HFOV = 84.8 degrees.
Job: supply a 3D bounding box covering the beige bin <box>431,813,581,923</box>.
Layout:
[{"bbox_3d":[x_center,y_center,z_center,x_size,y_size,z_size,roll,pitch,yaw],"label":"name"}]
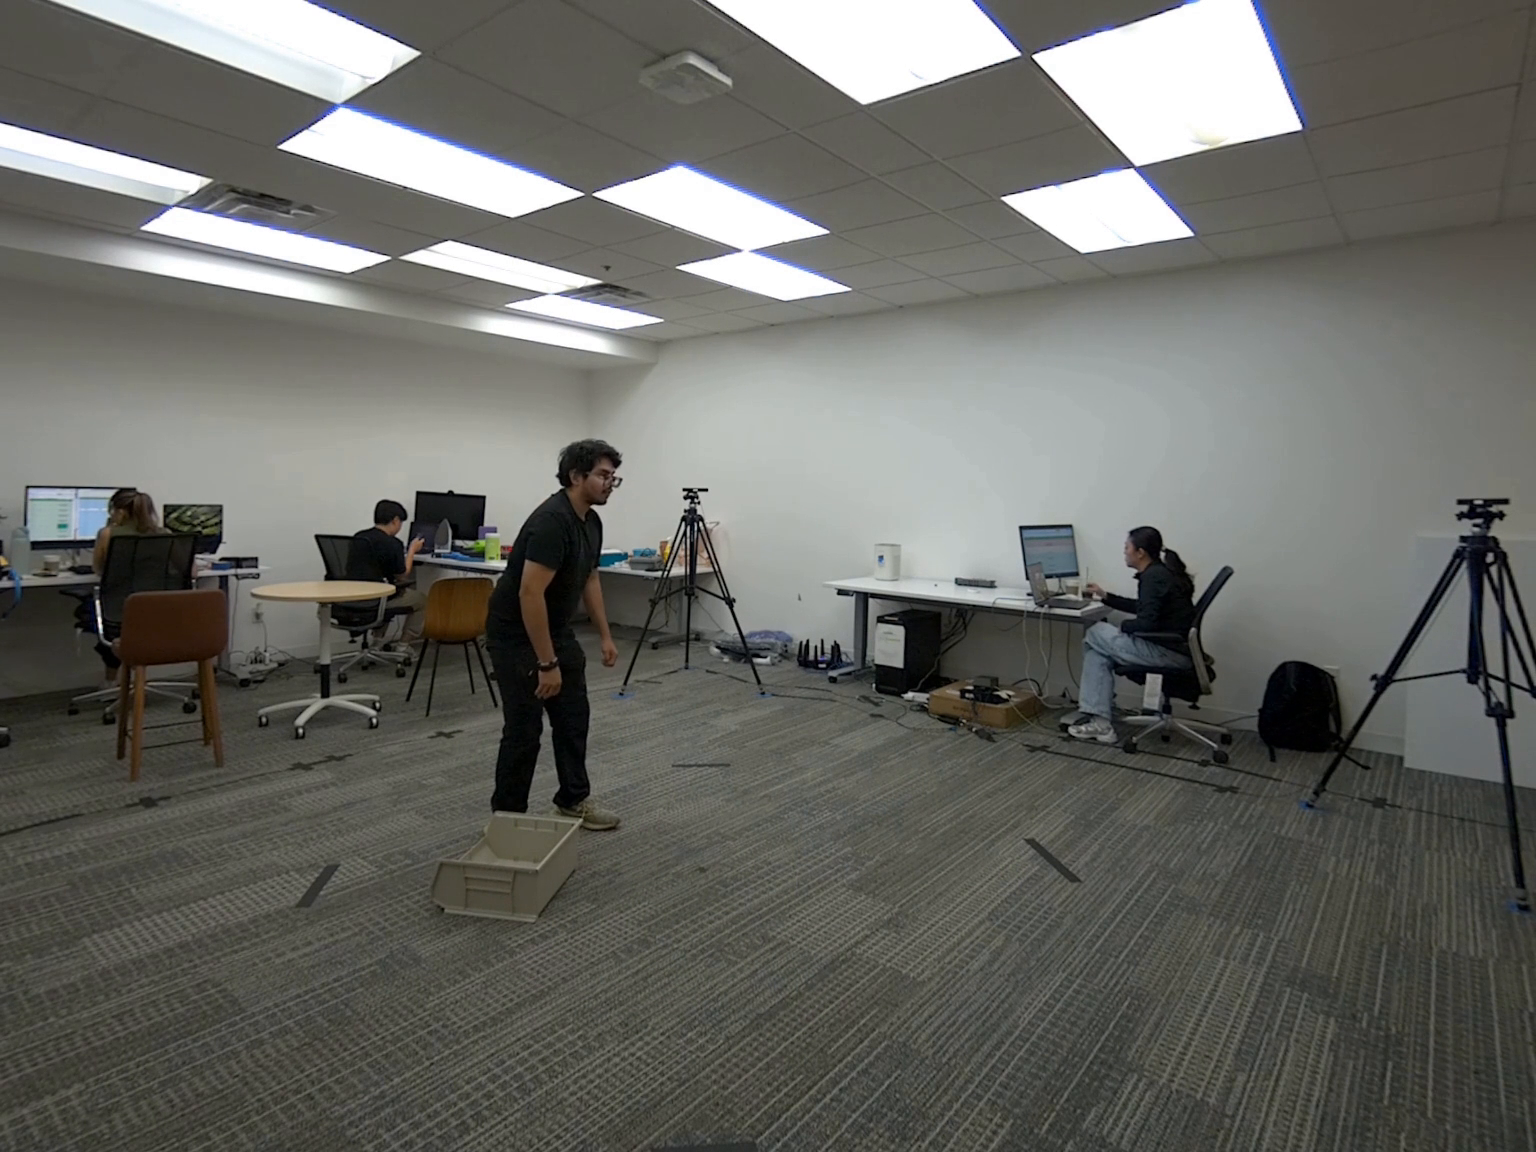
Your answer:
[{"bbox_3d":[-0.903,0.988,2.926,0.381,0.188,0.419,3,4,8],"label":"beige bin"}]
